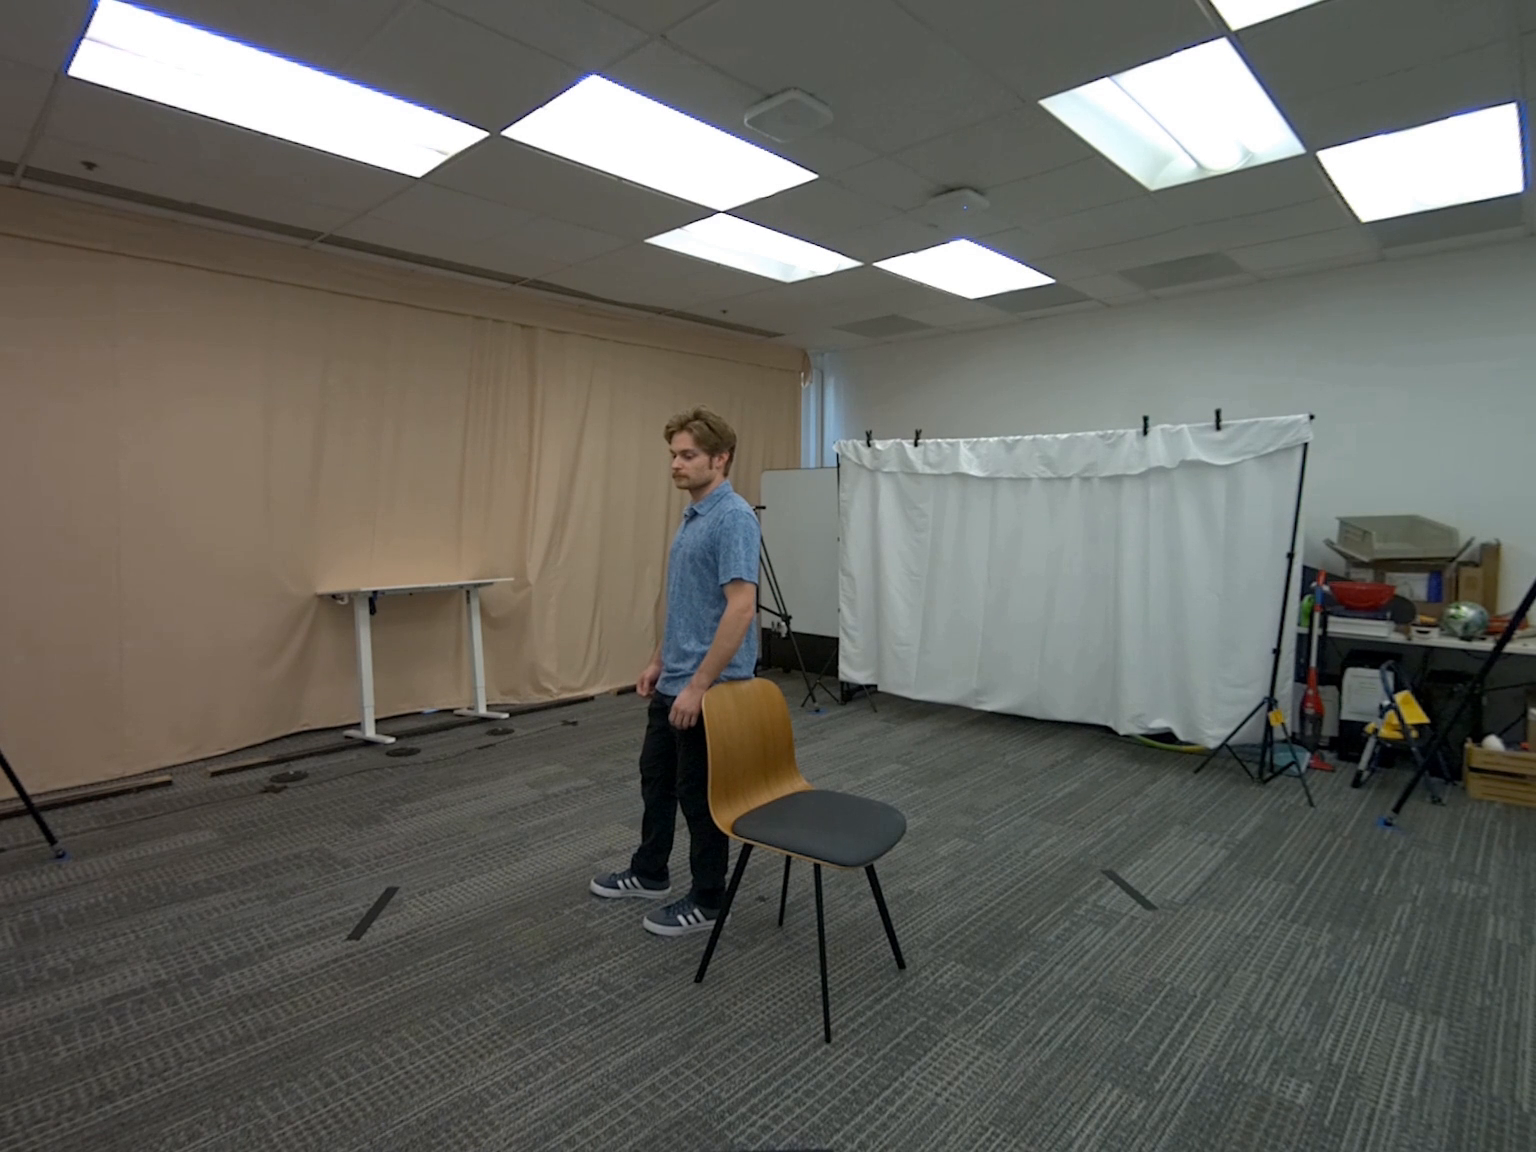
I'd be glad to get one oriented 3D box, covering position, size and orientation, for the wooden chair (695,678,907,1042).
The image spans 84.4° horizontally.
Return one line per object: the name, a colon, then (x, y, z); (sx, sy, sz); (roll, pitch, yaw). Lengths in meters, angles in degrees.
wooden chair: (0.116, 0.761, 2.460); (0.539, 0.877, 0.464); (-3, 1, 36)
